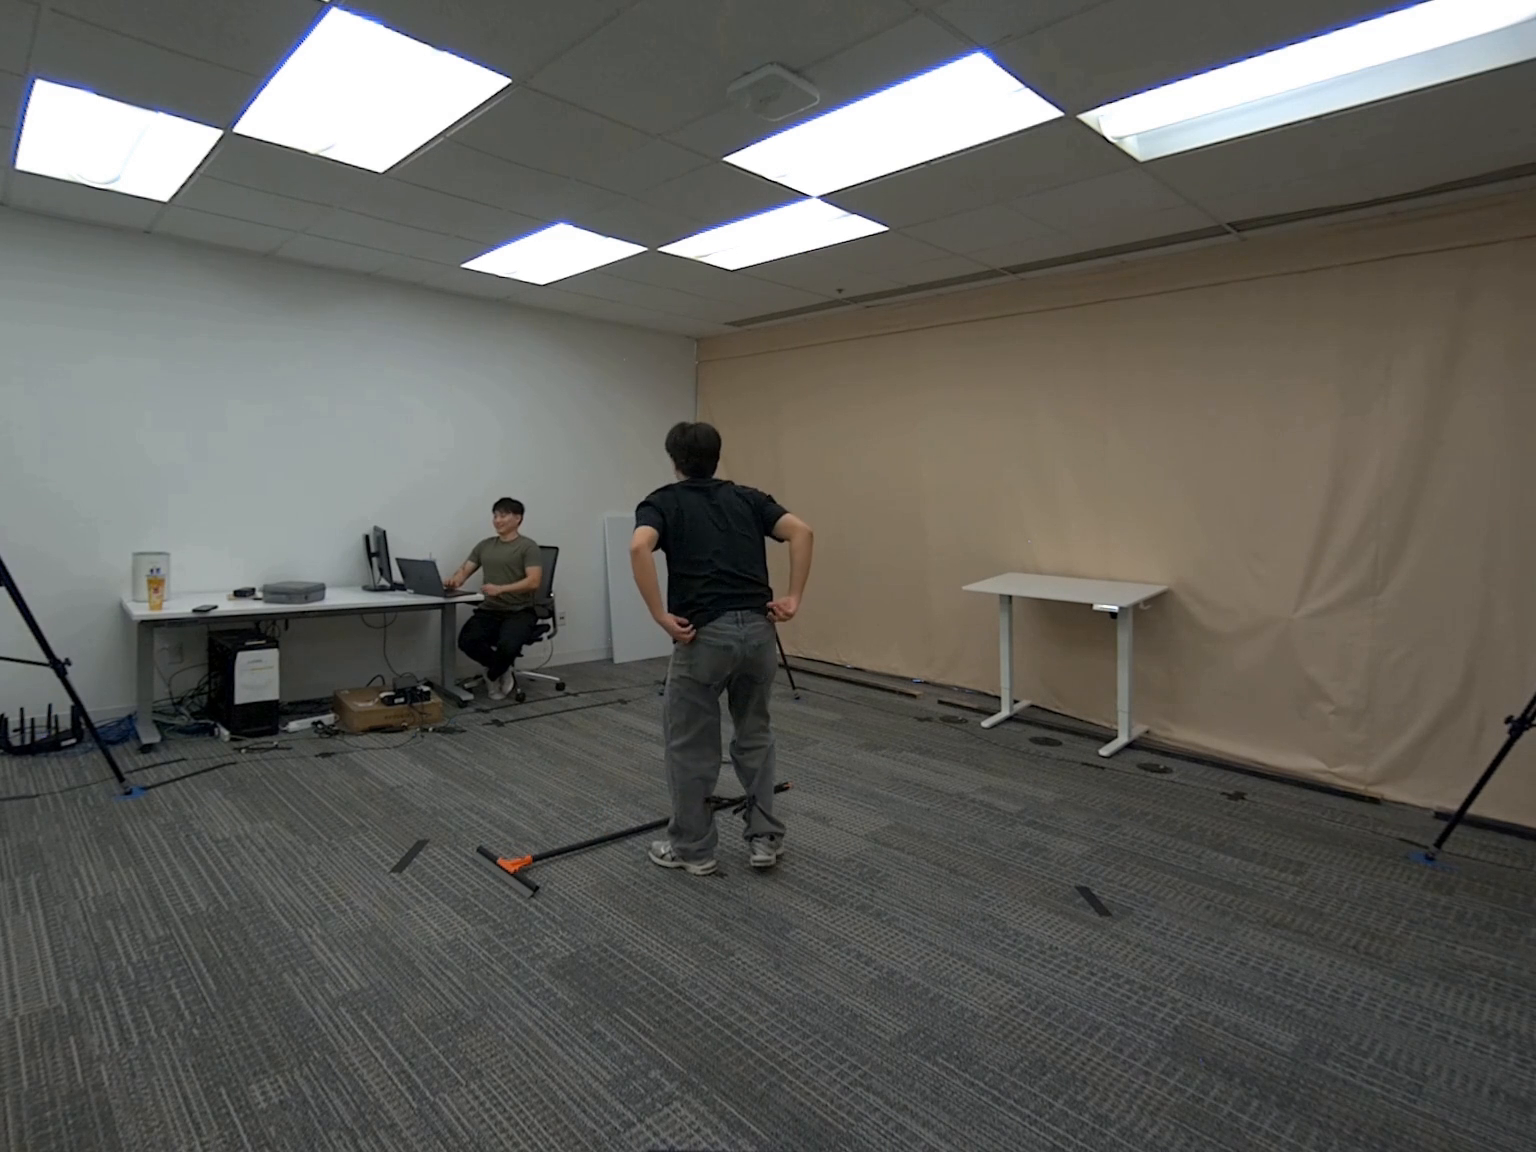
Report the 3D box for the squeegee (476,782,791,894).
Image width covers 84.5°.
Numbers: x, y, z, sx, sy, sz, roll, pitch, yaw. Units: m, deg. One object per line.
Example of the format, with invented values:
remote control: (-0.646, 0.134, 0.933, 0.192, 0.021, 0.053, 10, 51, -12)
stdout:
squeegee: (-0.433, 1.022, 3.554, 1.502, 0.053, 0.449, -2, 7, -44)
